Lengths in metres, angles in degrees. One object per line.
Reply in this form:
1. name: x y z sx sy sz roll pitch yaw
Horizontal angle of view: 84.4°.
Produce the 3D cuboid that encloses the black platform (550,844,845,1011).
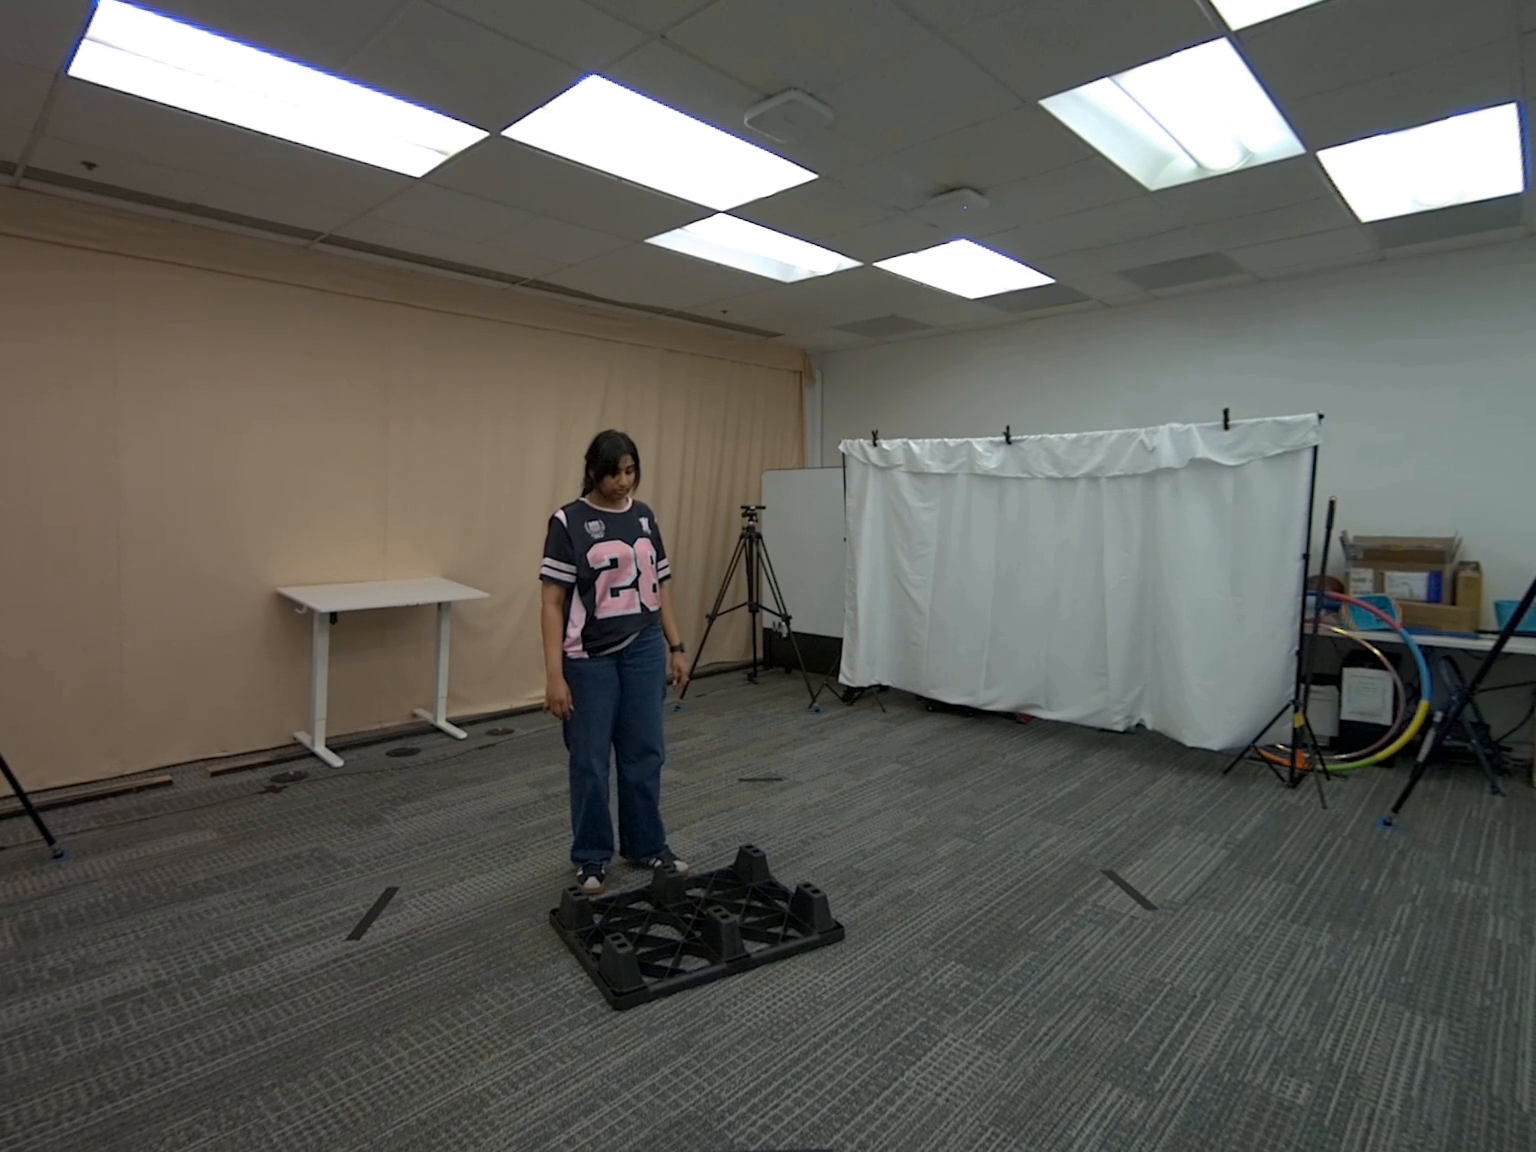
1. black platform: -0.237 1.098 2.767 0.784 0.143 0.623 -3 6 -31
